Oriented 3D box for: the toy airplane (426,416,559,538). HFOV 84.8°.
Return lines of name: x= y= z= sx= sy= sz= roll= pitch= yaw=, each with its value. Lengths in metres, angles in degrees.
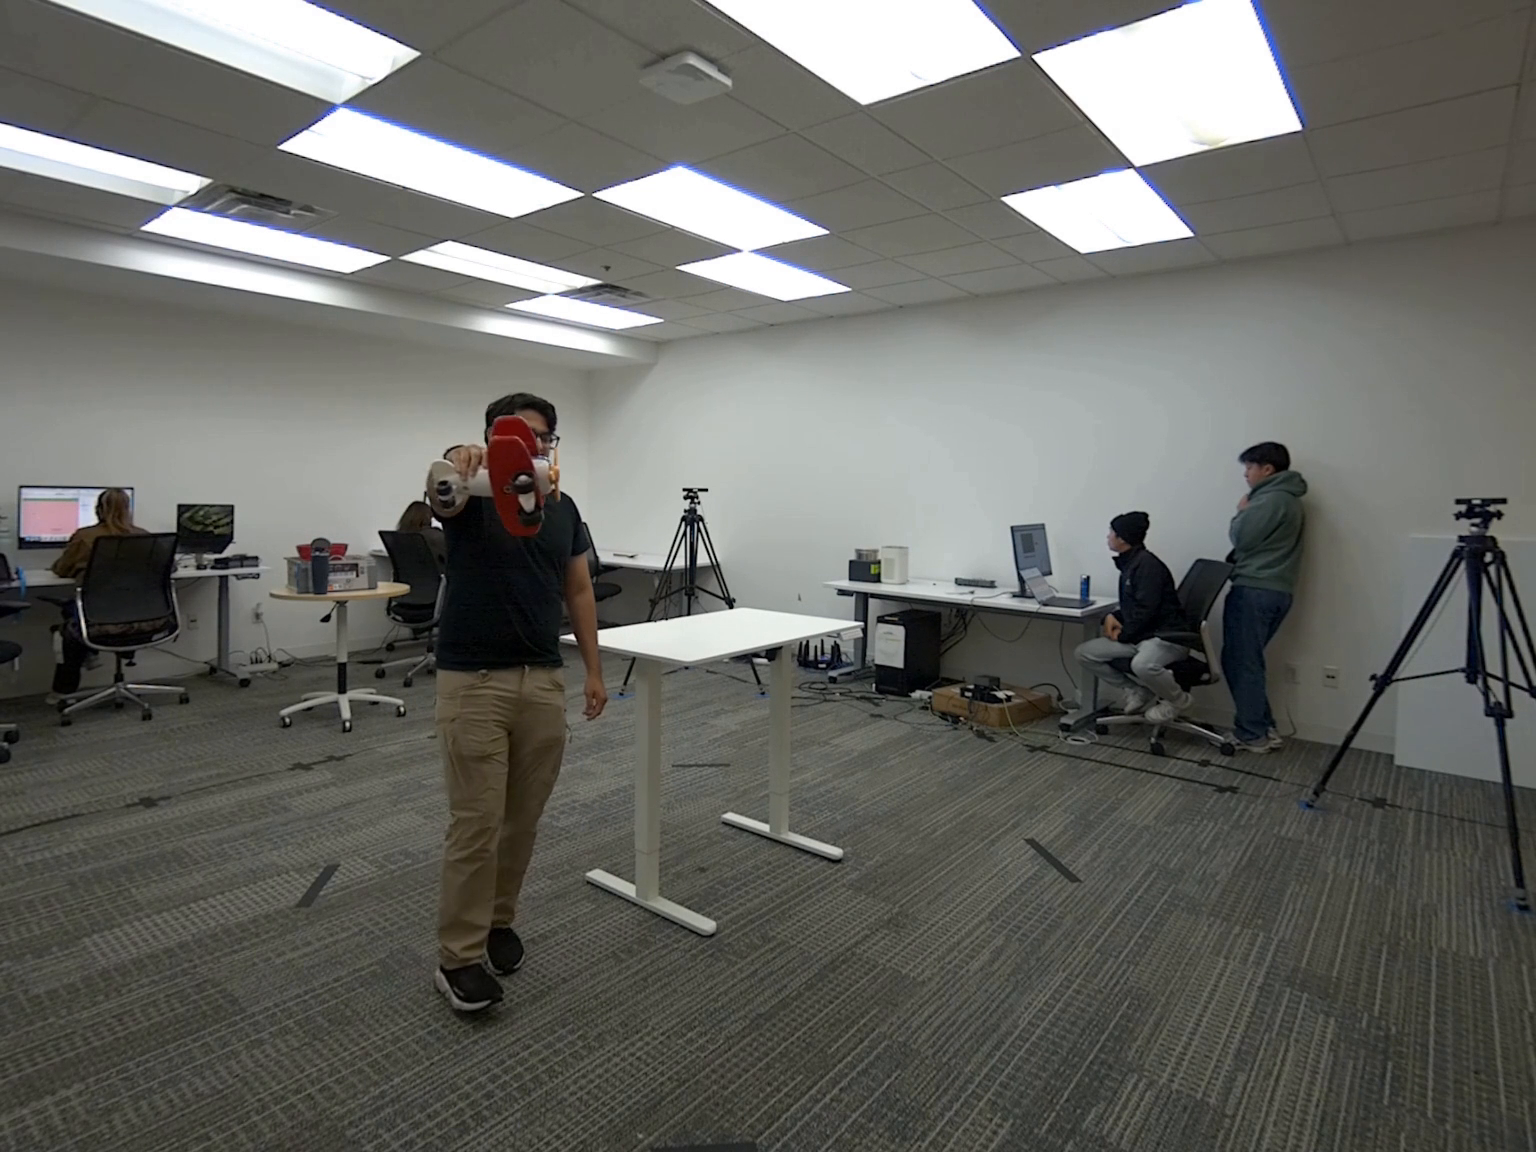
toy airplane: x=-0.587 y=-0.216 z=1.798 sx=0.255 sy=0.250 sz=0.160 roll=27 pitch=39 yaw=-12
